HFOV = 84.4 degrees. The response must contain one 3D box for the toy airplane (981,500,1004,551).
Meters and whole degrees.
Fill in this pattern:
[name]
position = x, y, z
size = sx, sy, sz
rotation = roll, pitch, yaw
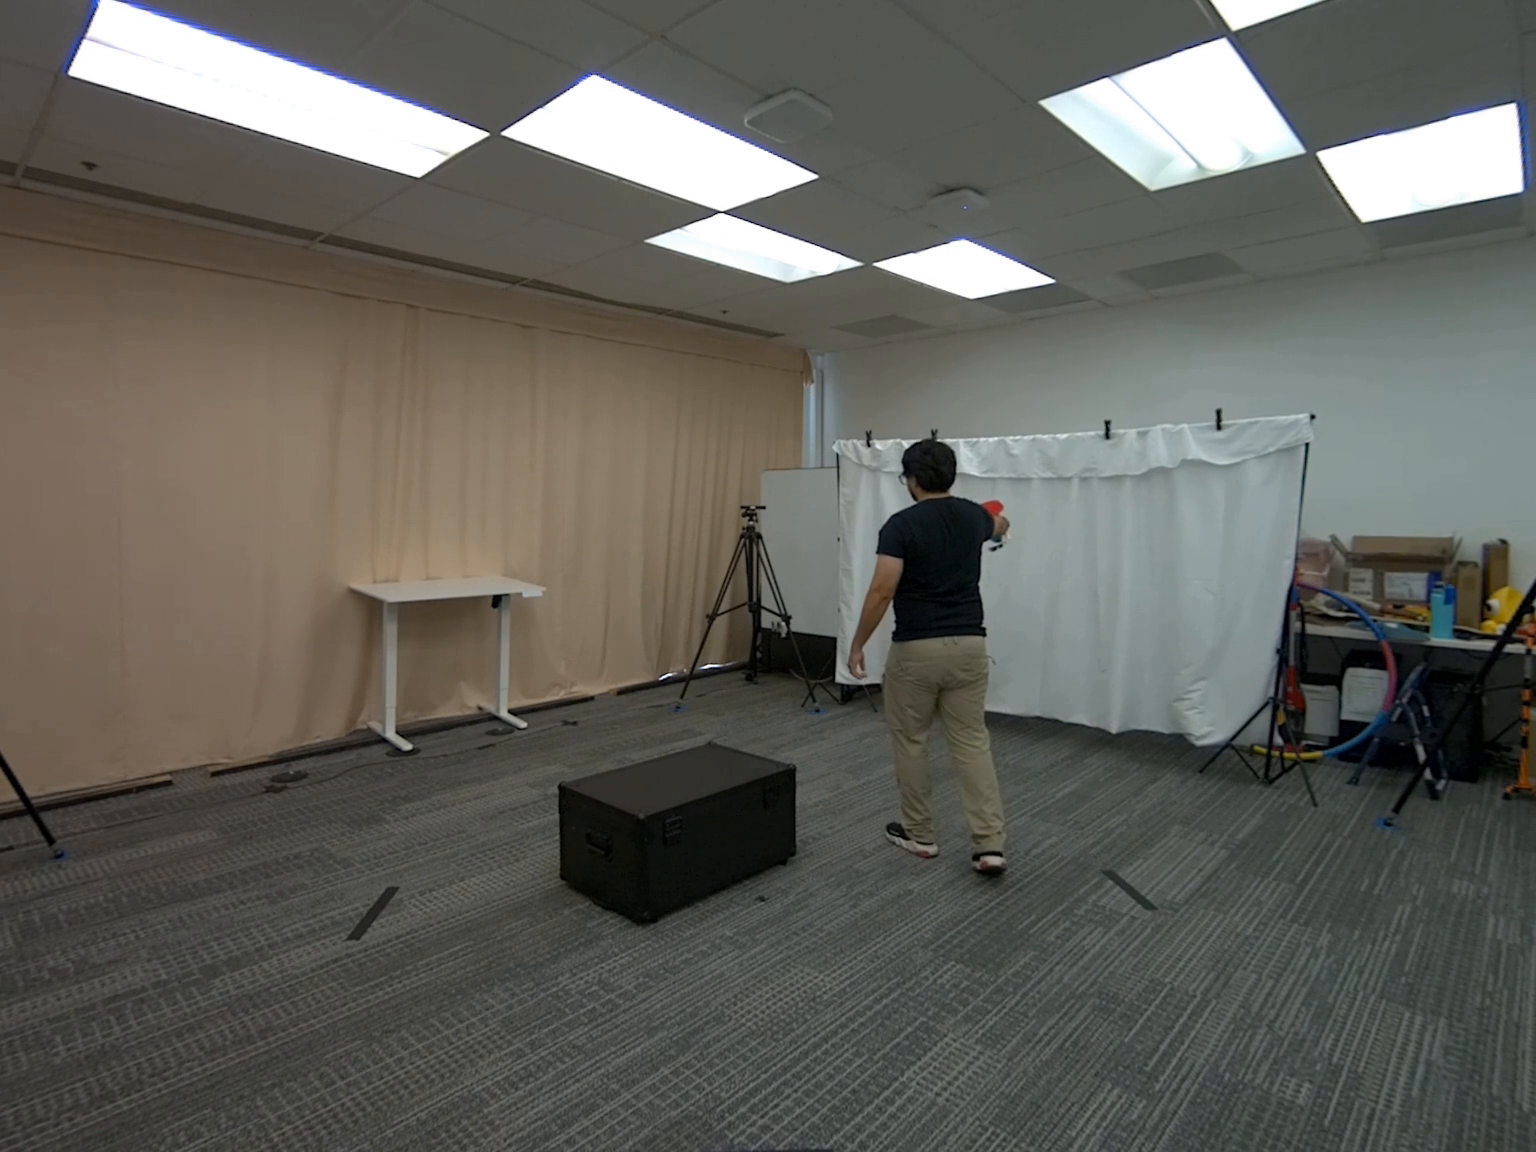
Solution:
[toy airplane]
position = 1.020, -0.236, 3.928
size = 0.268, 0.152, 0.249
rotation = 14, 45, 39
